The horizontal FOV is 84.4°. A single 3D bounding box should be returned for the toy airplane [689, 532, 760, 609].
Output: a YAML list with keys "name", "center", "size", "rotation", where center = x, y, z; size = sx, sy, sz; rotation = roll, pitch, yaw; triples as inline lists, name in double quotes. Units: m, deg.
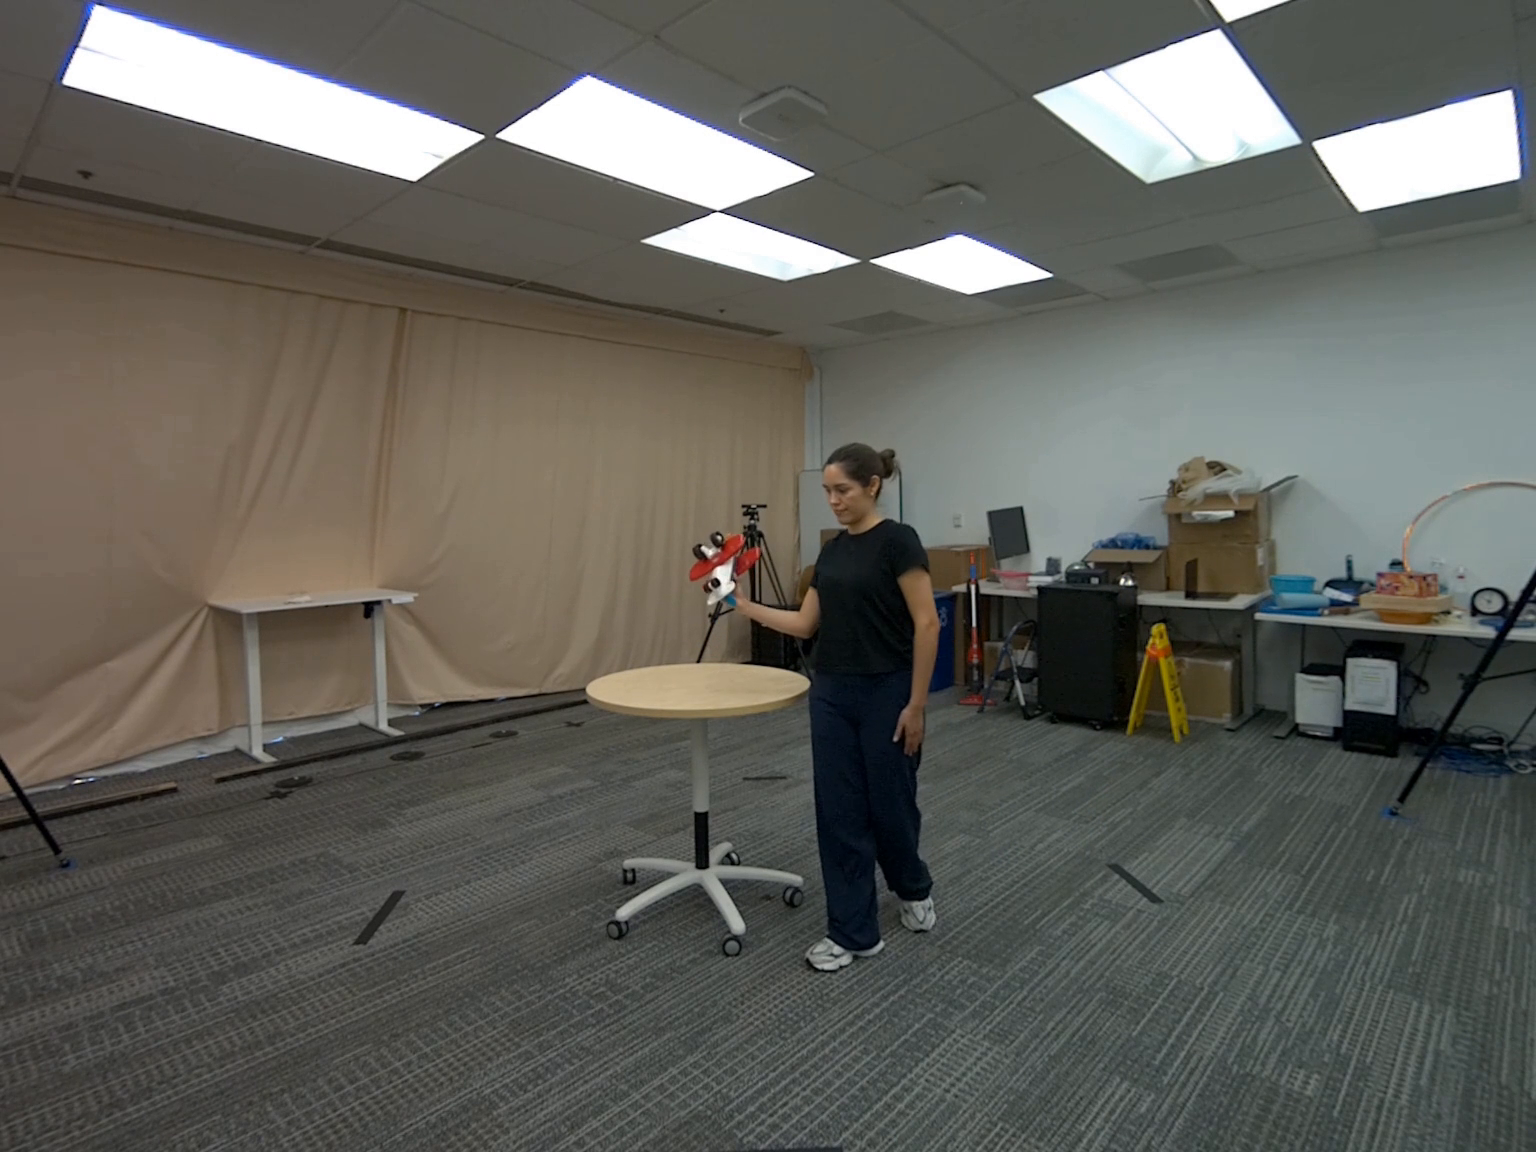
- name: "toy airplane"
  center: [-0.152, -0.016, 2.858]
  size: [0.259, 0.261, 0.151]
  rotation: [-6, -28, 44]
